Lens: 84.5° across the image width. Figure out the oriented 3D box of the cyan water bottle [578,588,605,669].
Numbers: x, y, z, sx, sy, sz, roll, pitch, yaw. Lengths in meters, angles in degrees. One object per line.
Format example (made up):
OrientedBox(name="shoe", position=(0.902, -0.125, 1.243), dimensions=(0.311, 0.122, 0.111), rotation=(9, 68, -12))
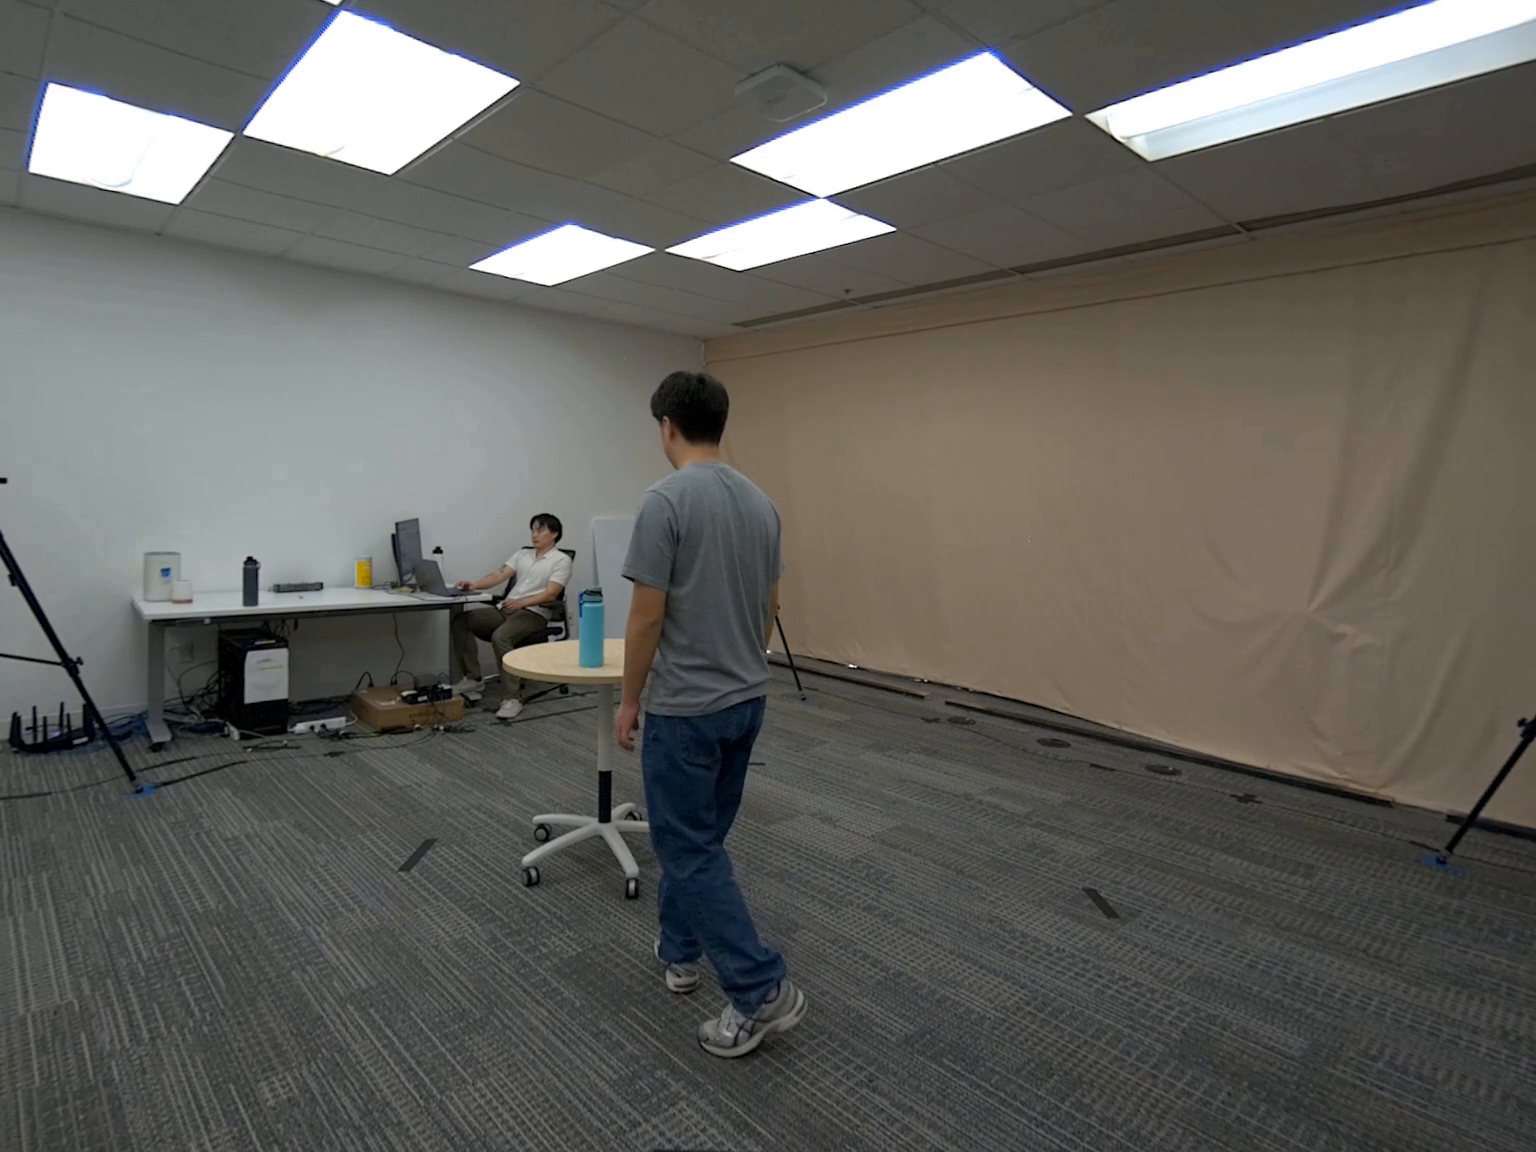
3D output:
OrientedBox(name="cyan water bottle", position=(-0.642, 0.182, 2.996), dimensions=(0.092, 0.282, 0.093), rotation=(0, 4, -1))
